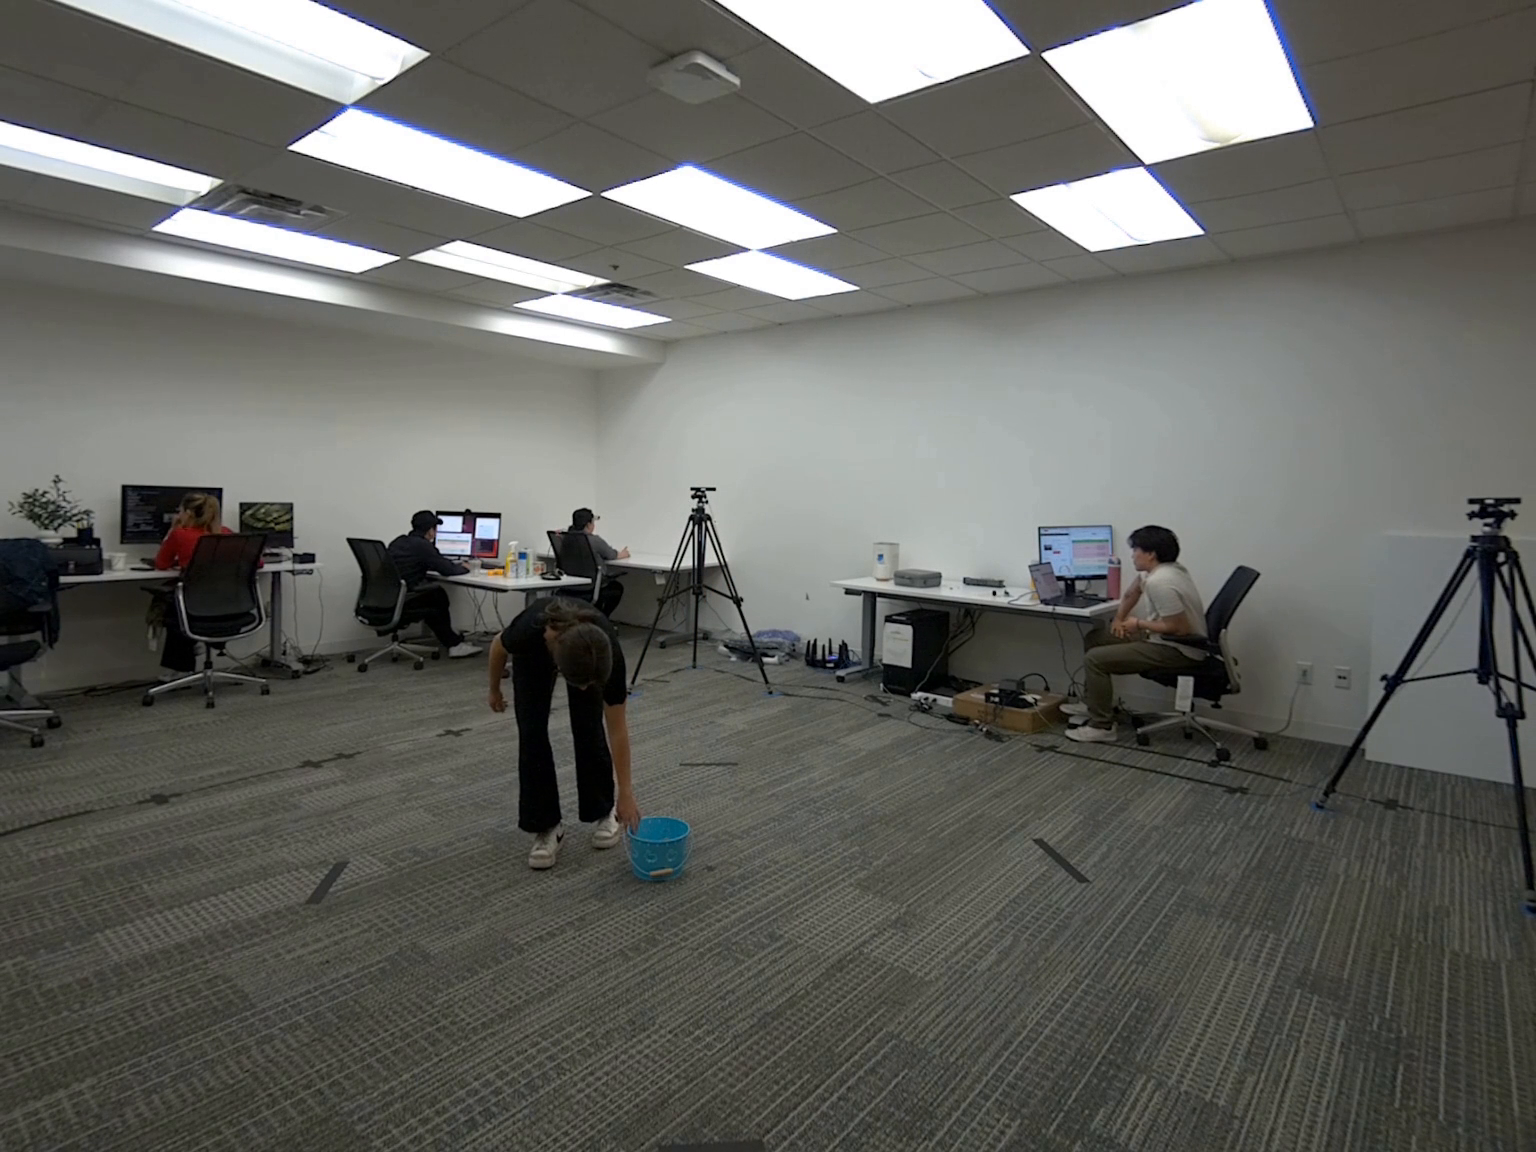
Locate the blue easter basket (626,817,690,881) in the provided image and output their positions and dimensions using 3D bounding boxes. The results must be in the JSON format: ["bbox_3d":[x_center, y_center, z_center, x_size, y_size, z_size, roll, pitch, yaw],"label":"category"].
[{"bbox_3d":[-0.409,0.986,3.082,0.243,0.155,0.245,0,5,-2],"label":"blue easter basket"}]
